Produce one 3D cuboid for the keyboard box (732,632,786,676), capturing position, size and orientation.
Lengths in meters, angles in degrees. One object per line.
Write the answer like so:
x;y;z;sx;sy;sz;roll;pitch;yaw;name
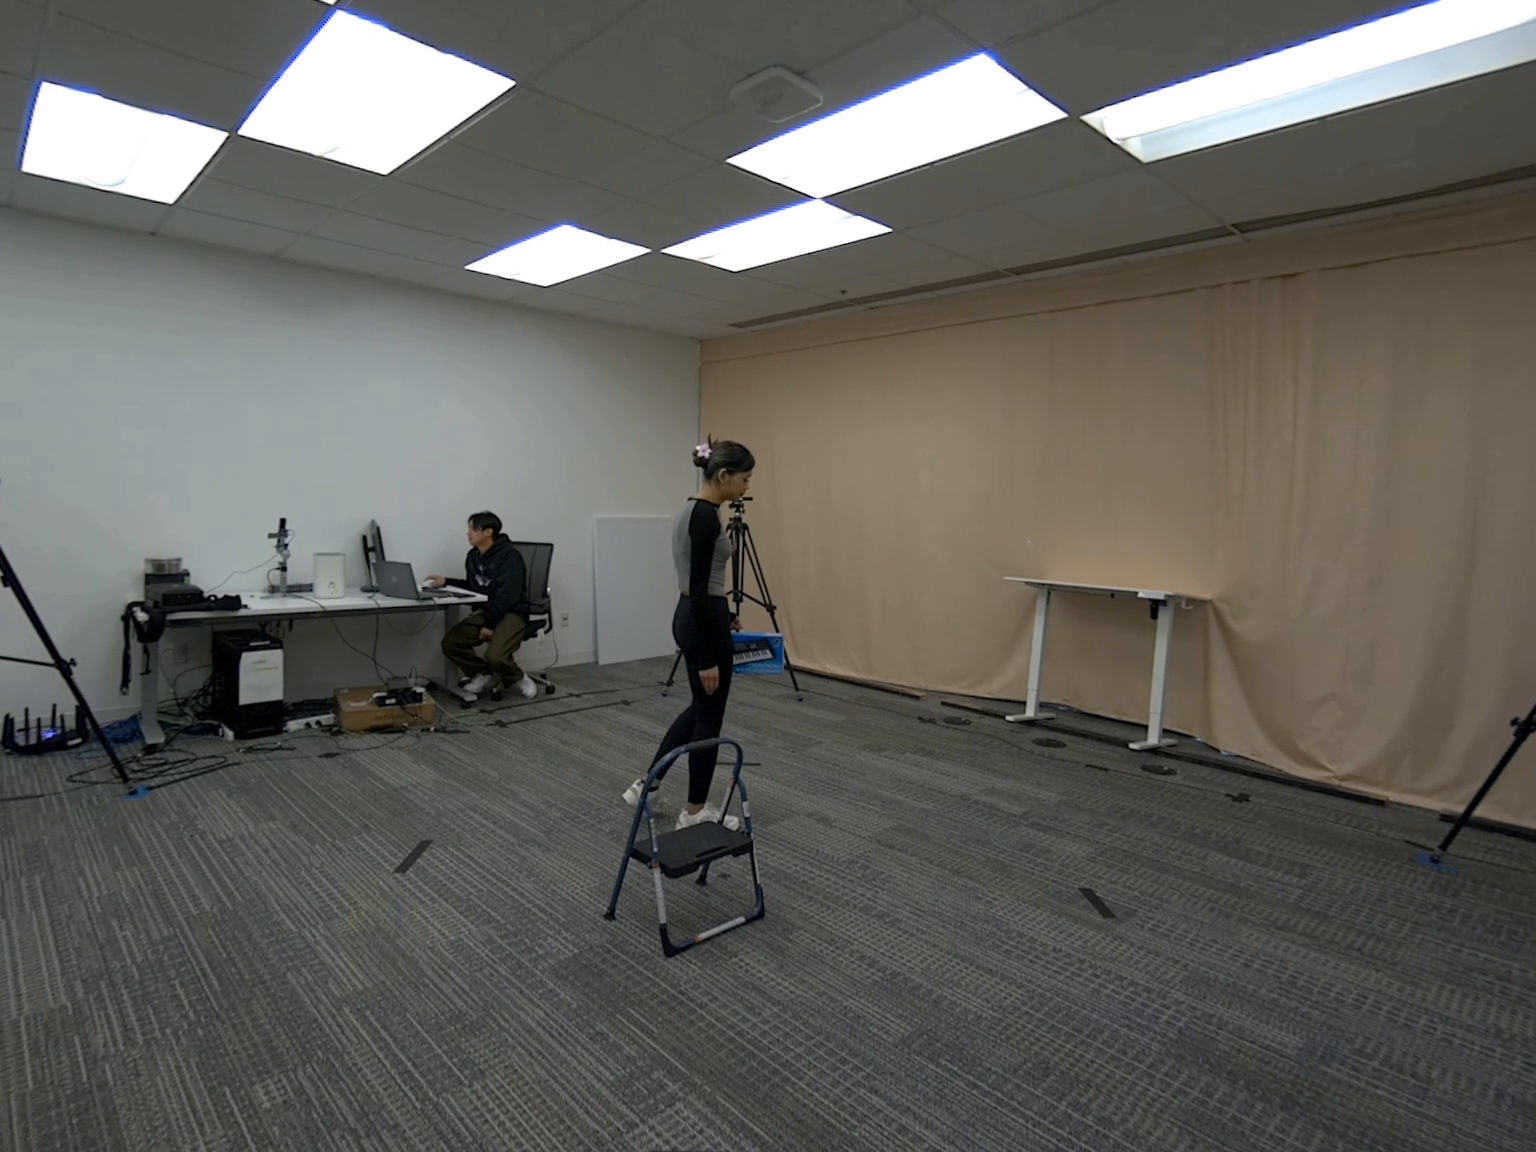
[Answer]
-0.164;0.342;3.777;0.439;0.175;0.059;2;5;7;keyboard box
